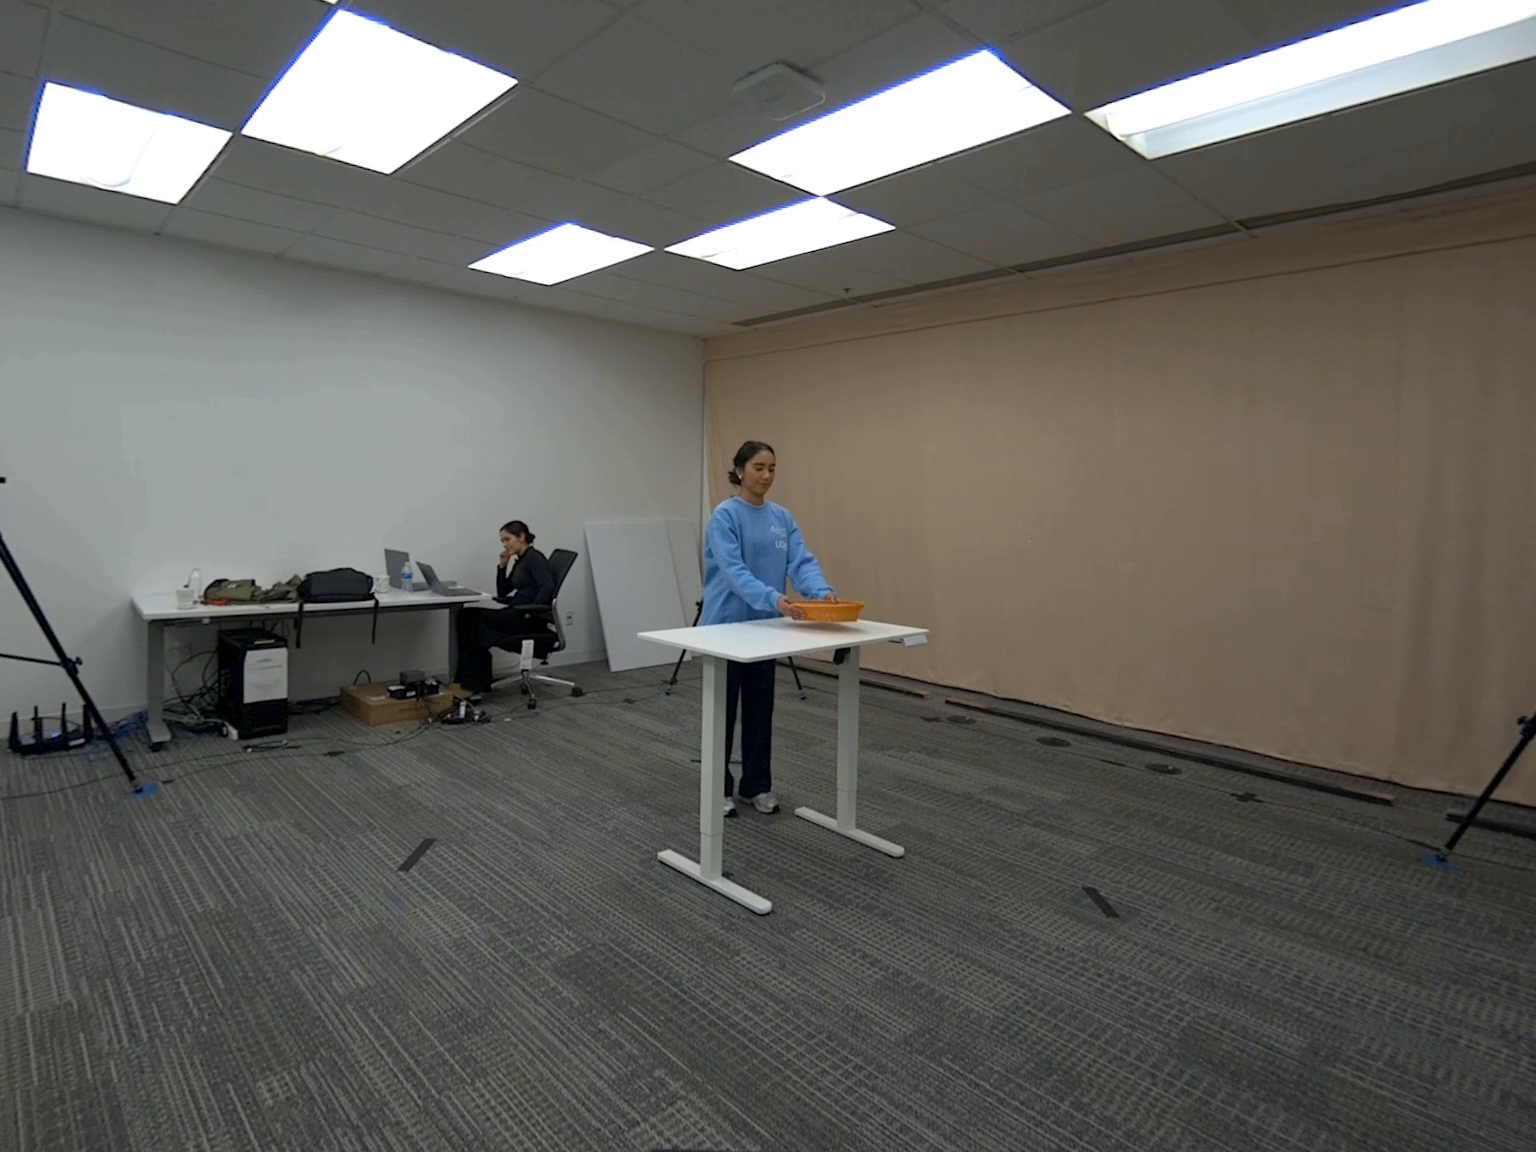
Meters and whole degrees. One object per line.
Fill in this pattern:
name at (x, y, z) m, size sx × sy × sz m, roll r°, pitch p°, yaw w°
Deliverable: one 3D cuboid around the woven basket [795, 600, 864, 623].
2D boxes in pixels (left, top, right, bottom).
woven basket at (0.196, 0.142, 3.345) m, size 0.352 × 0.073 × 0.251 m, roll 0°, pitch 3°, yaw 7°
